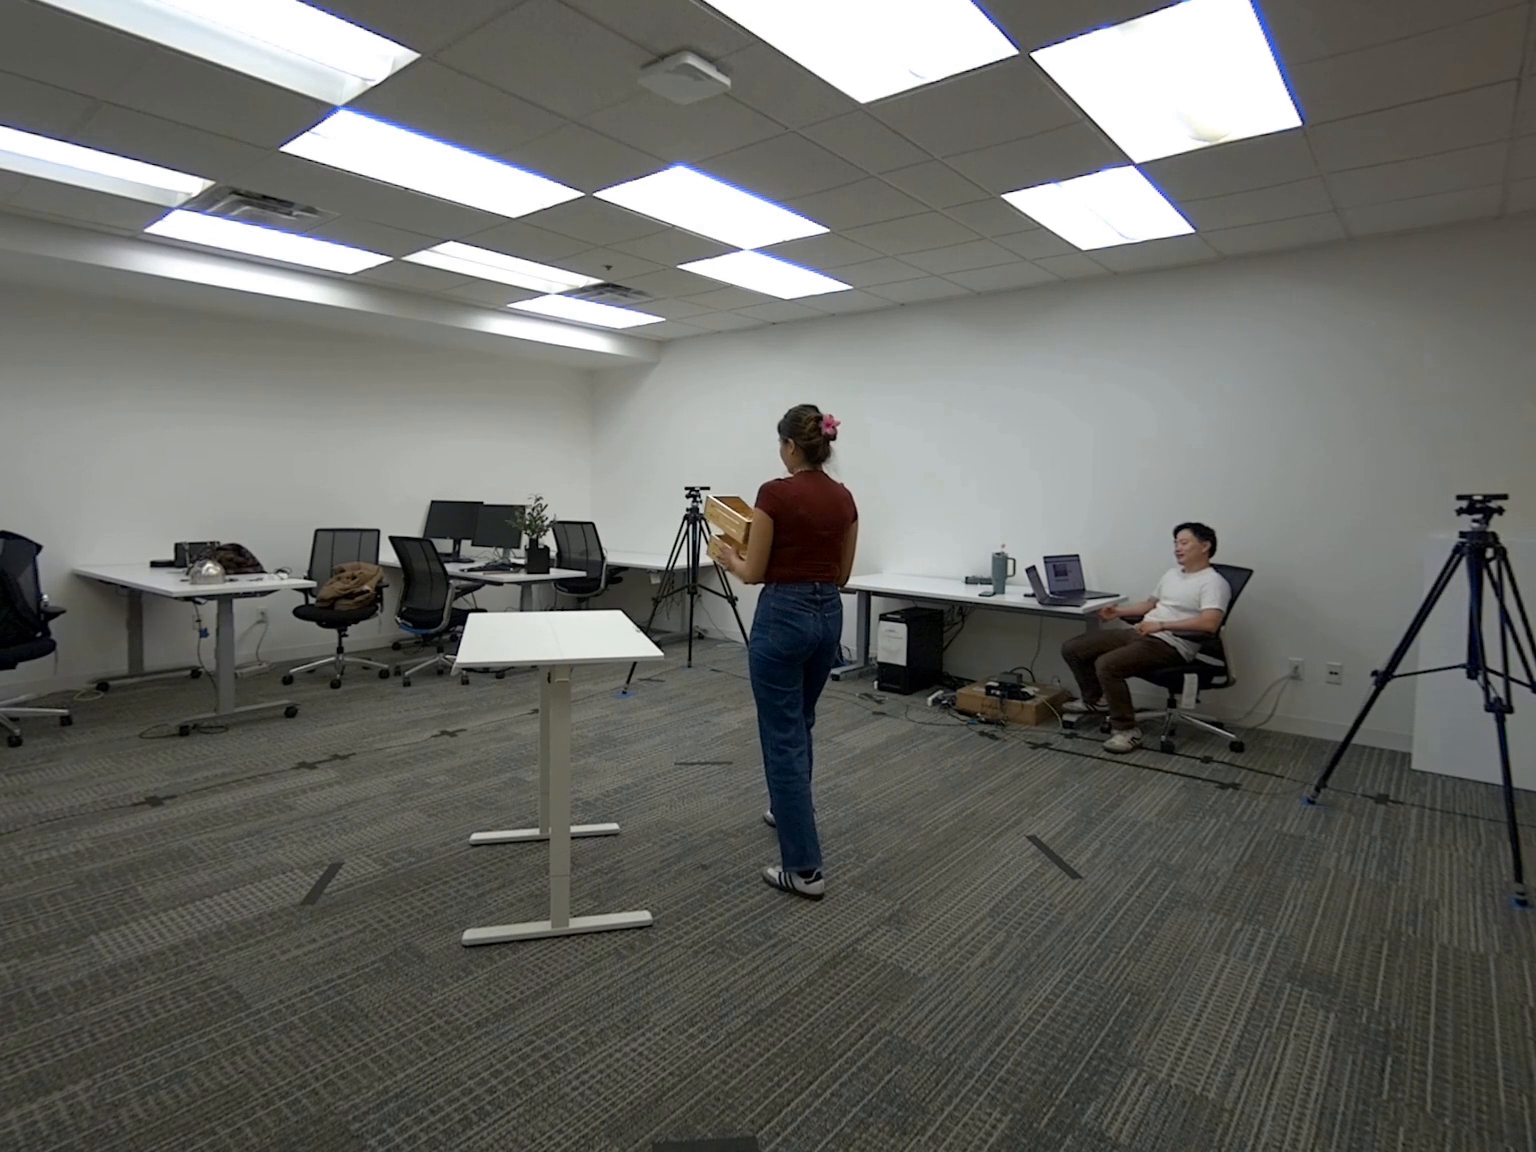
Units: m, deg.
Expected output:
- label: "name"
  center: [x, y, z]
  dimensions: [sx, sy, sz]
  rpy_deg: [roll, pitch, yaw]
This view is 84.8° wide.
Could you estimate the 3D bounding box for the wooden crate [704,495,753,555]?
- label: "wooden crate"
  center: [-0.071, -0.159, 3.394]
  dimensions: [0.293, 0.270, 0.338]
  rpy_deg: [-2, 23, -35]
